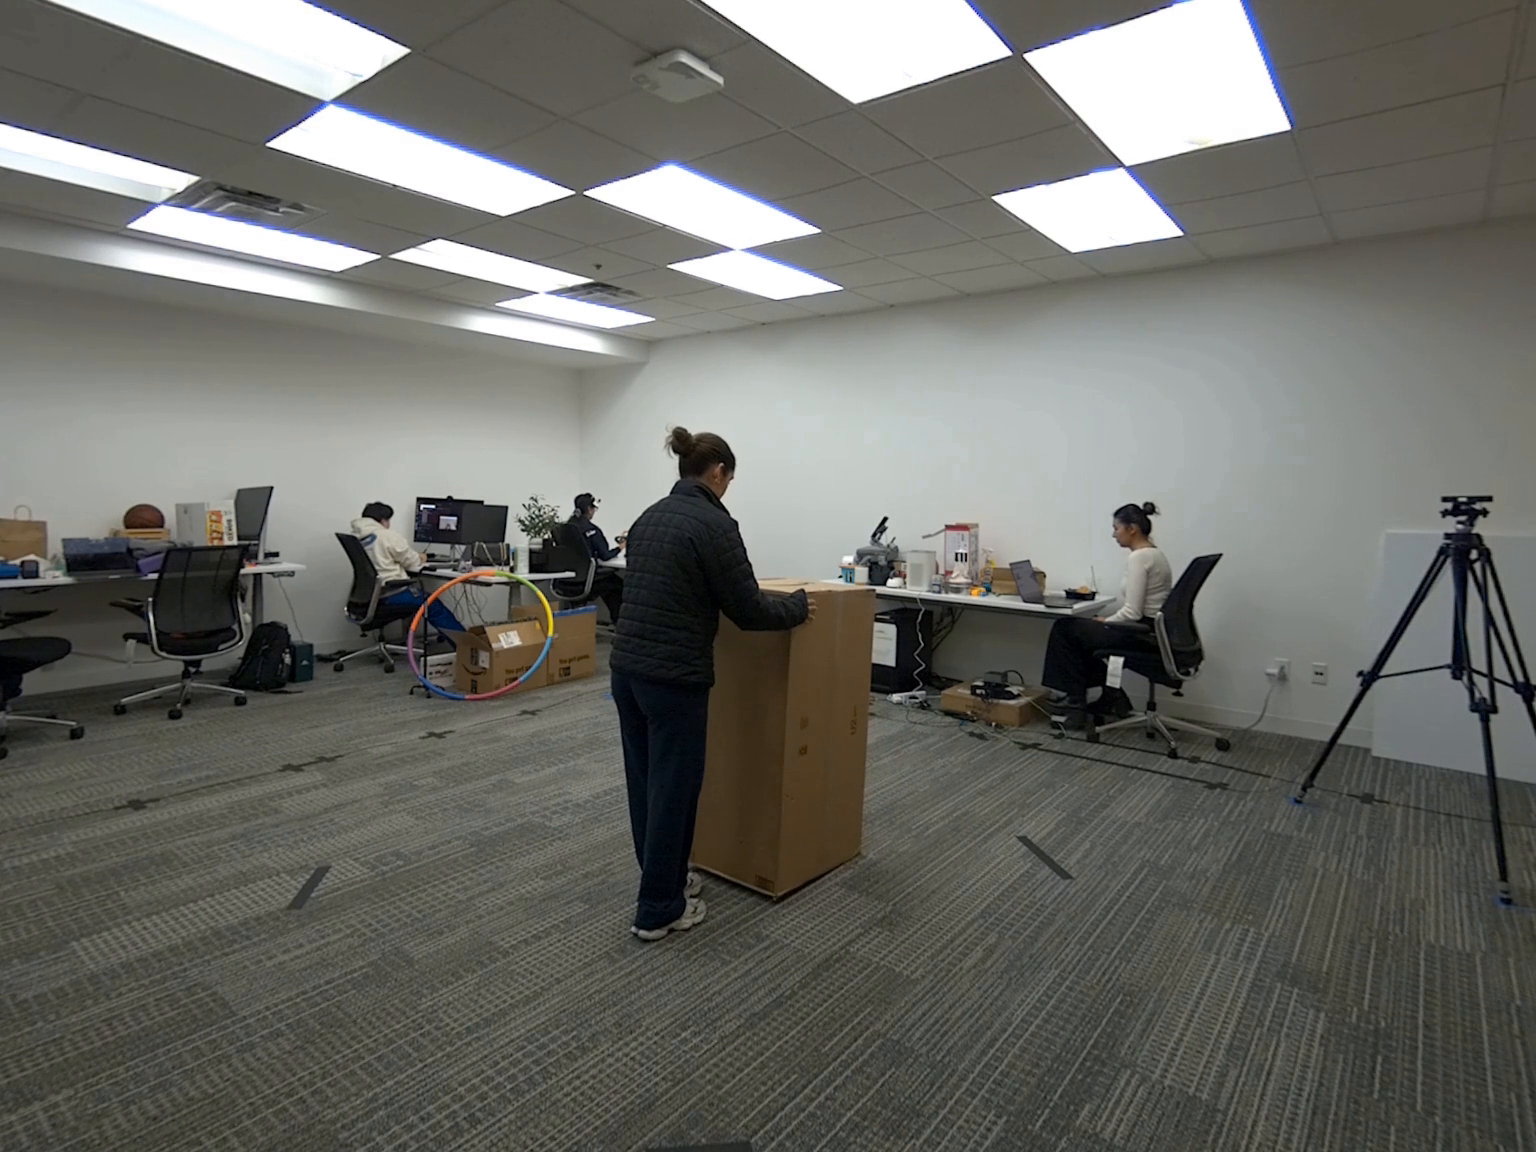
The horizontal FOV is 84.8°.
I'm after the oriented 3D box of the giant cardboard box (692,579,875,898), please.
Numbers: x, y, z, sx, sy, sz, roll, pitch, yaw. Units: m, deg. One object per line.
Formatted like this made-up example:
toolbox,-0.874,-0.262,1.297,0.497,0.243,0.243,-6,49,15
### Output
giant cardboard box,0.067,0.546,3.190,0.440,1.025,0.559,4,2,38
